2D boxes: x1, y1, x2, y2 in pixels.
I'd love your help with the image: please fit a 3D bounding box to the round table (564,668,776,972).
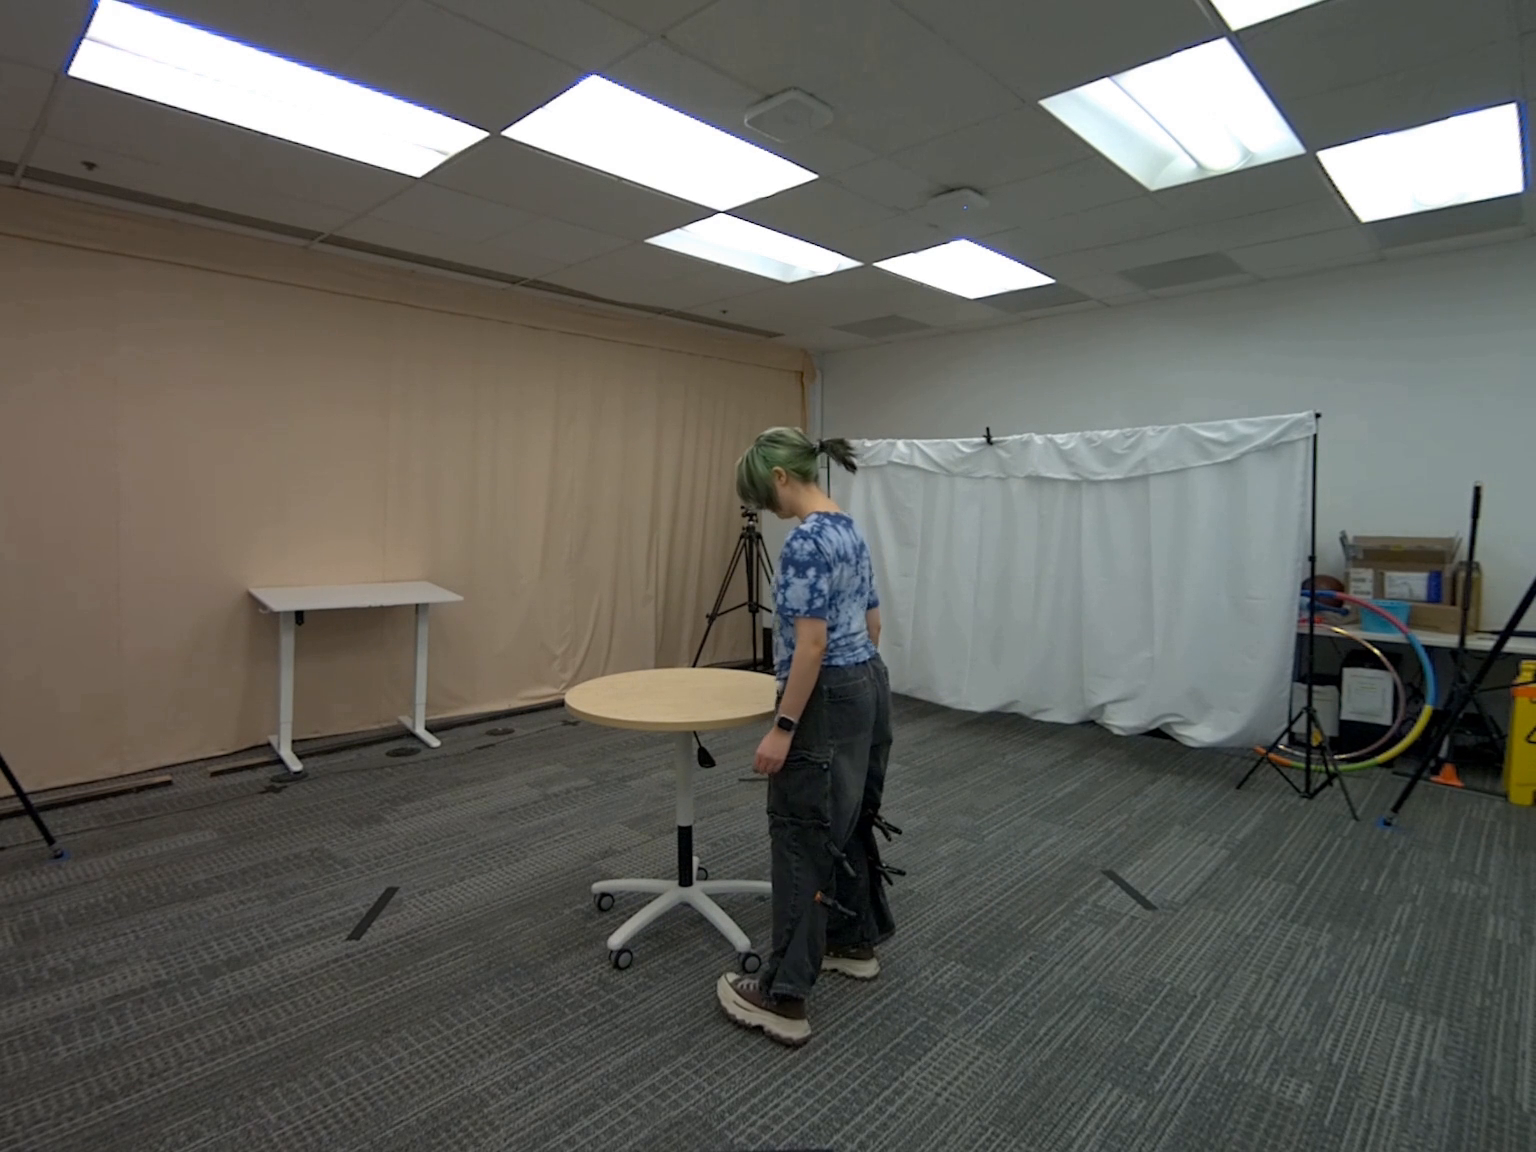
[{"bbox_3d":[-0.275,0.774,2.777,0.763,0.792,0.766,-1,4,-2],"label":"round table"}]
